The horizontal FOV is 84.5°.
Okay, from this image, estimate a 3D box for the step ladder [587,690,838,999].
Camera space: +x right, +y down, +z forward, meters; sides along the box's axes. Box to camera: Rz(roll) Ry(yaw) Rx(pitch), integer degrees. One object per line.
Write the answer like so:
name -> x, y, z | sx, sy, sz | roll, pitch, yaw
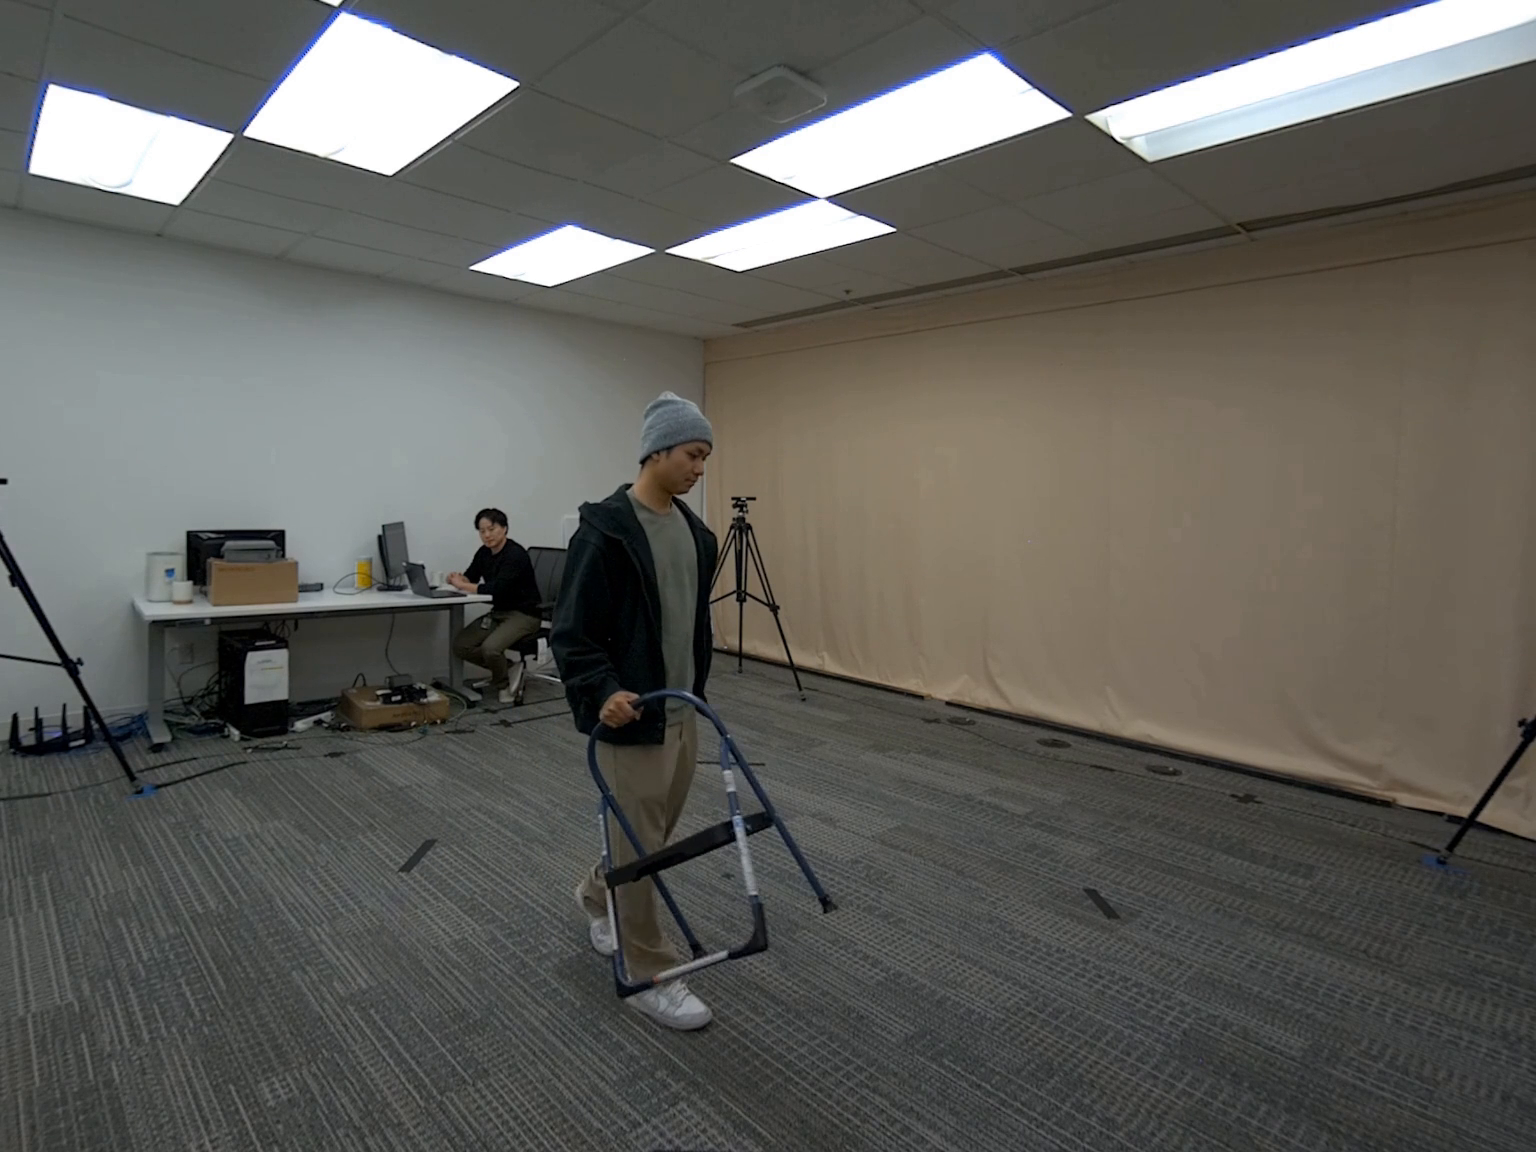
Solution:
step ladder -> -0.206, 0.595, 2.007 | 0.433, 0.617, 0.341 | -30, -20, 23
